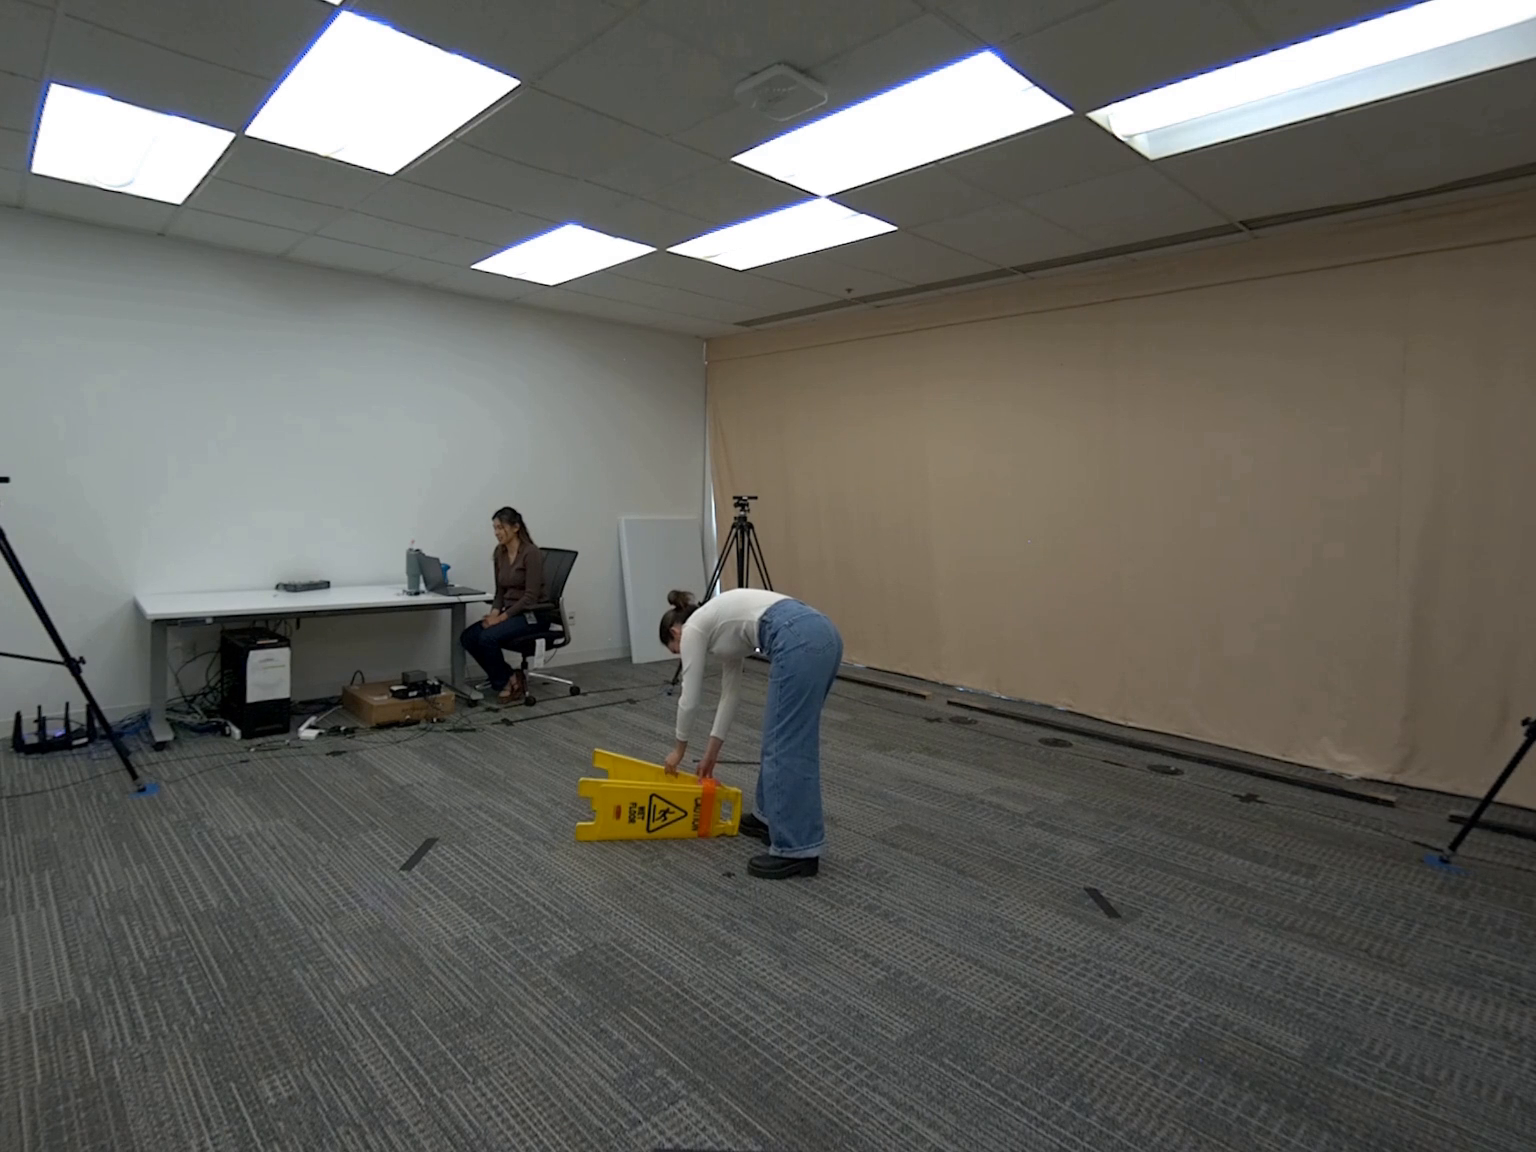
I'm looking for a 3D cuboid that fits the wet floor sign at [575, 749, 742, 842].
[{"bbox_3d":[-0.441,0.929,3.460,0.647,0.280,0.292,6,13,2],"label":"wet floor sign"}]
